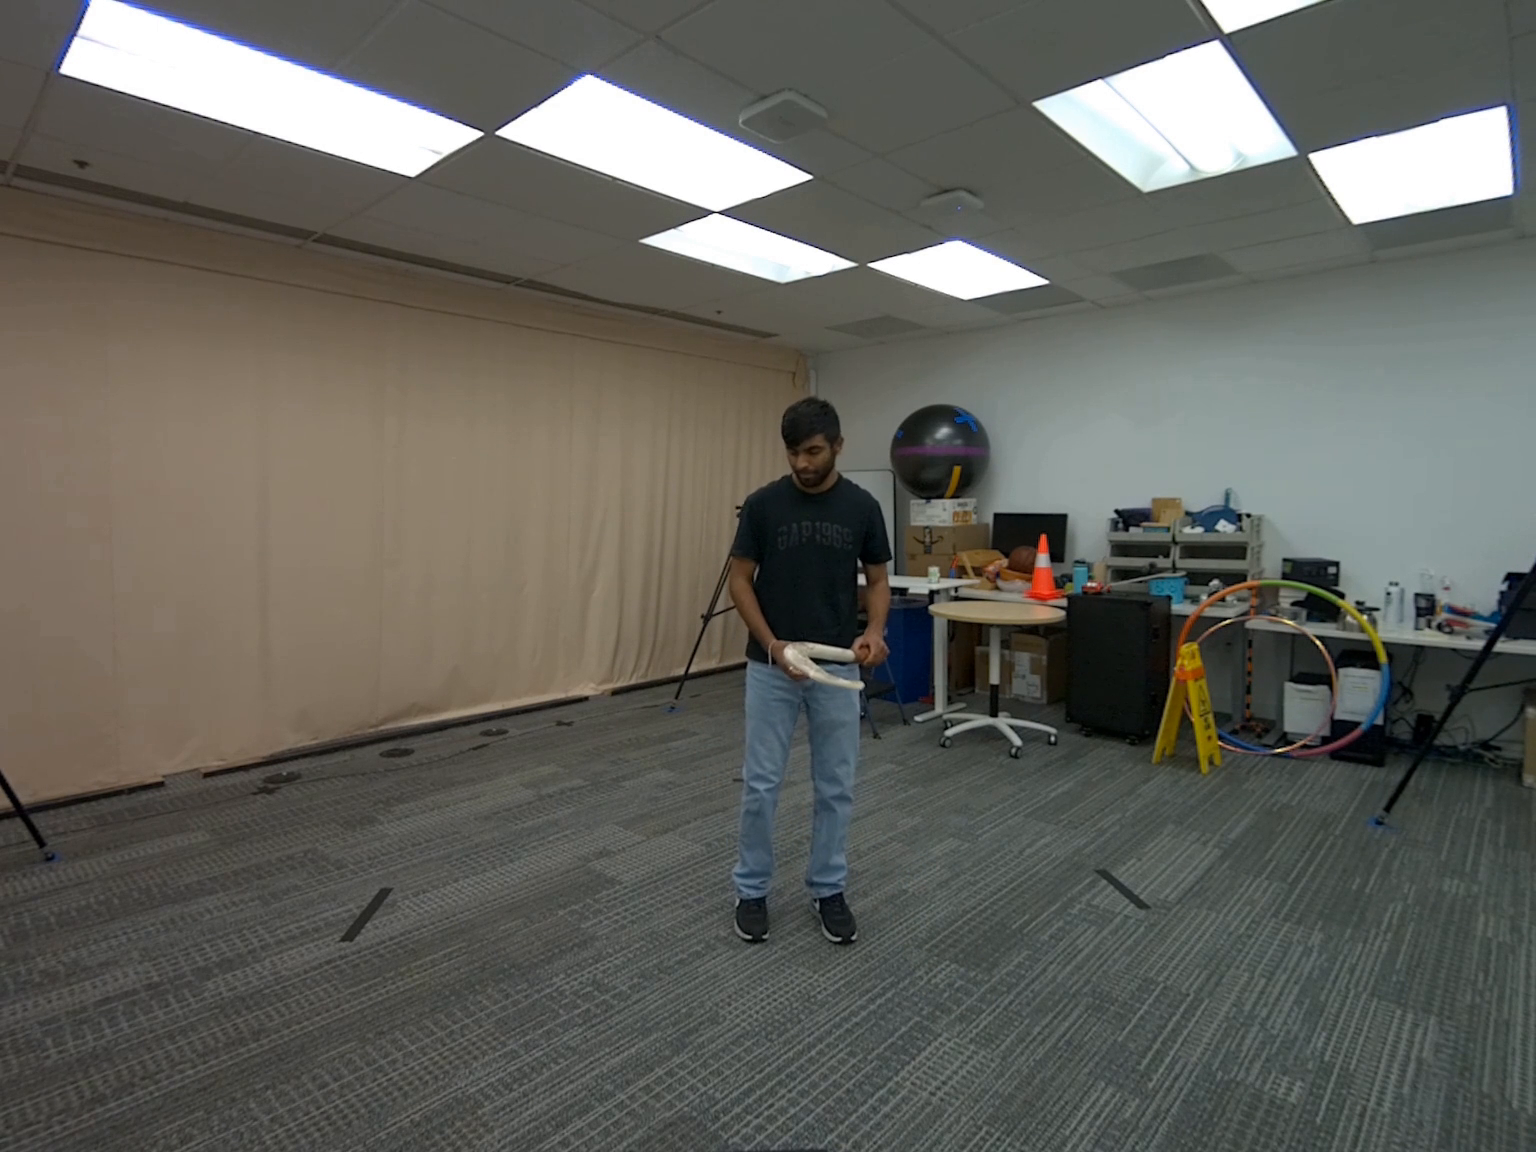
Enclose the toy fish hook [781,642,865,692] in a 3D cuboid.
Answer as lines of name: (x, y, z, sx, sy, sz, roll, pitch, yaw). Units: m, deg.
toy fish hook: (0.251, 0.262, 2.426, 0.489, 0.048, 0.233, 6, 26, -48)
